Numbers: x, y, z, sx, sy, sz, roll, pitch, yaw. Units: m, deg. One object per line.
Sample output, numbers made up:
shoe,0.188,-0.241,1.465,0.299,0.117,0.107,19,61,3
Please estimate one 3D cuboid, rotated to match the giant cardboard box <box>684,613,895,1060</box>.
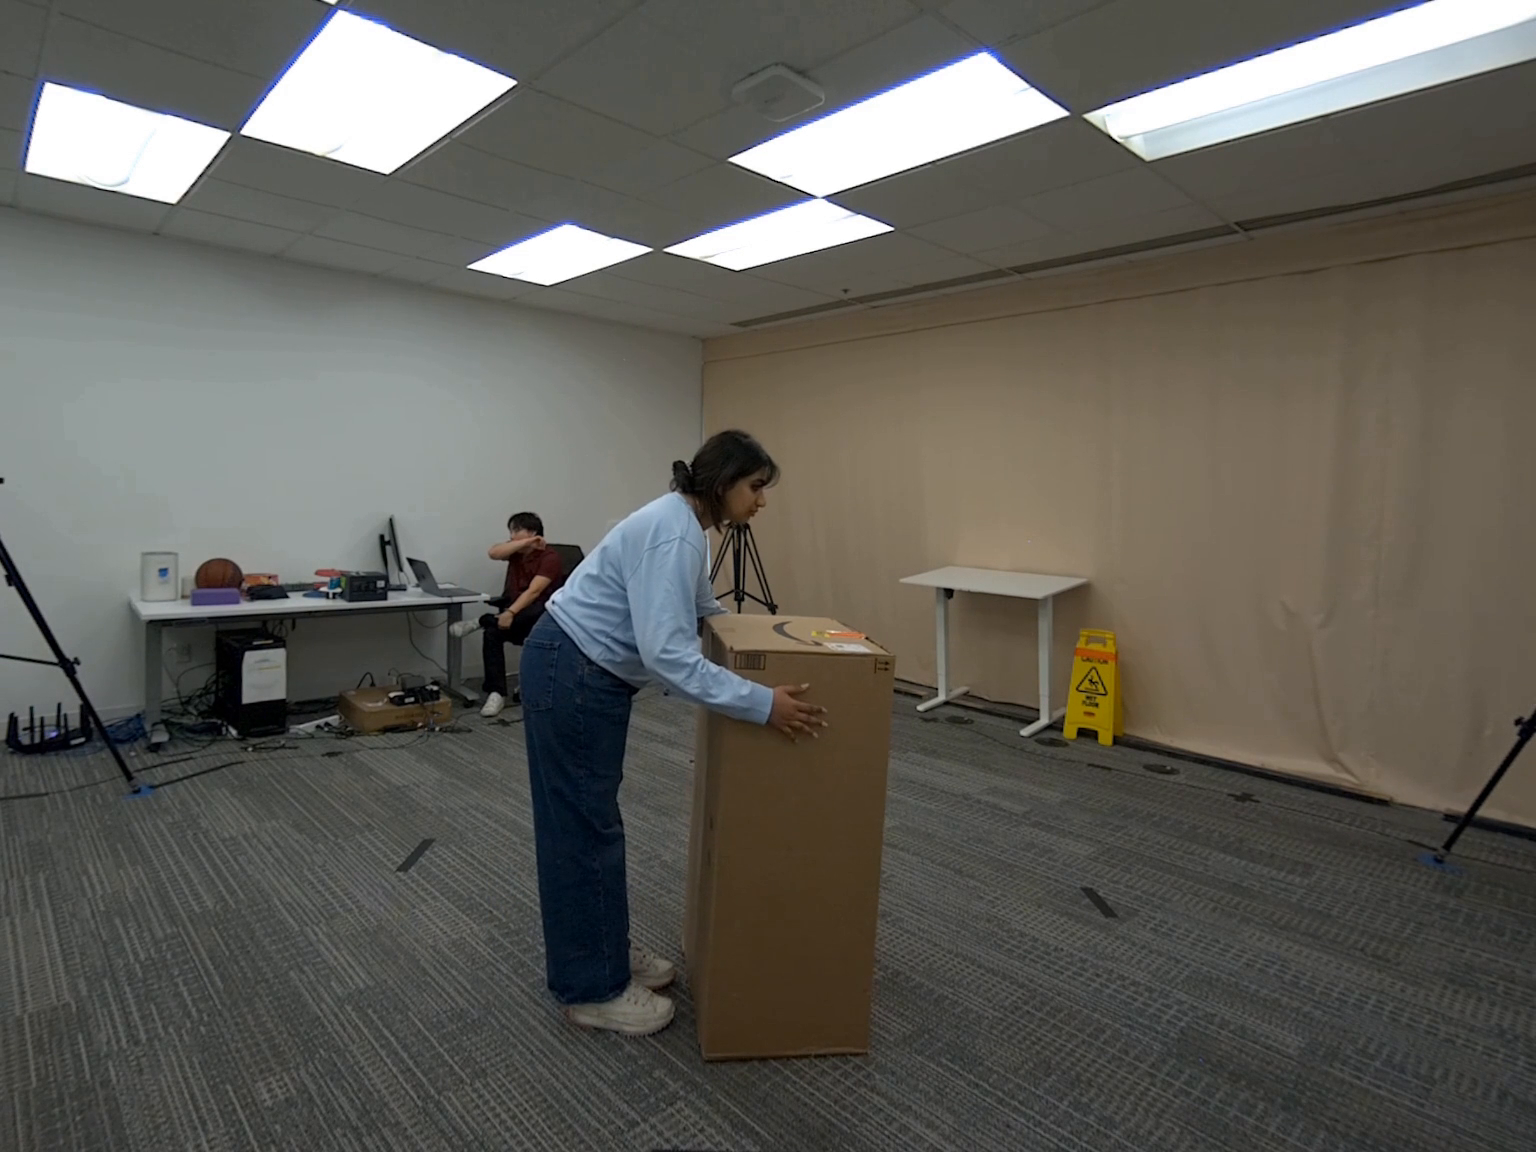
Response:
giant cardboard box,0.026,0.667,2.348,0.423,1.023,0.584,2,4,-10
